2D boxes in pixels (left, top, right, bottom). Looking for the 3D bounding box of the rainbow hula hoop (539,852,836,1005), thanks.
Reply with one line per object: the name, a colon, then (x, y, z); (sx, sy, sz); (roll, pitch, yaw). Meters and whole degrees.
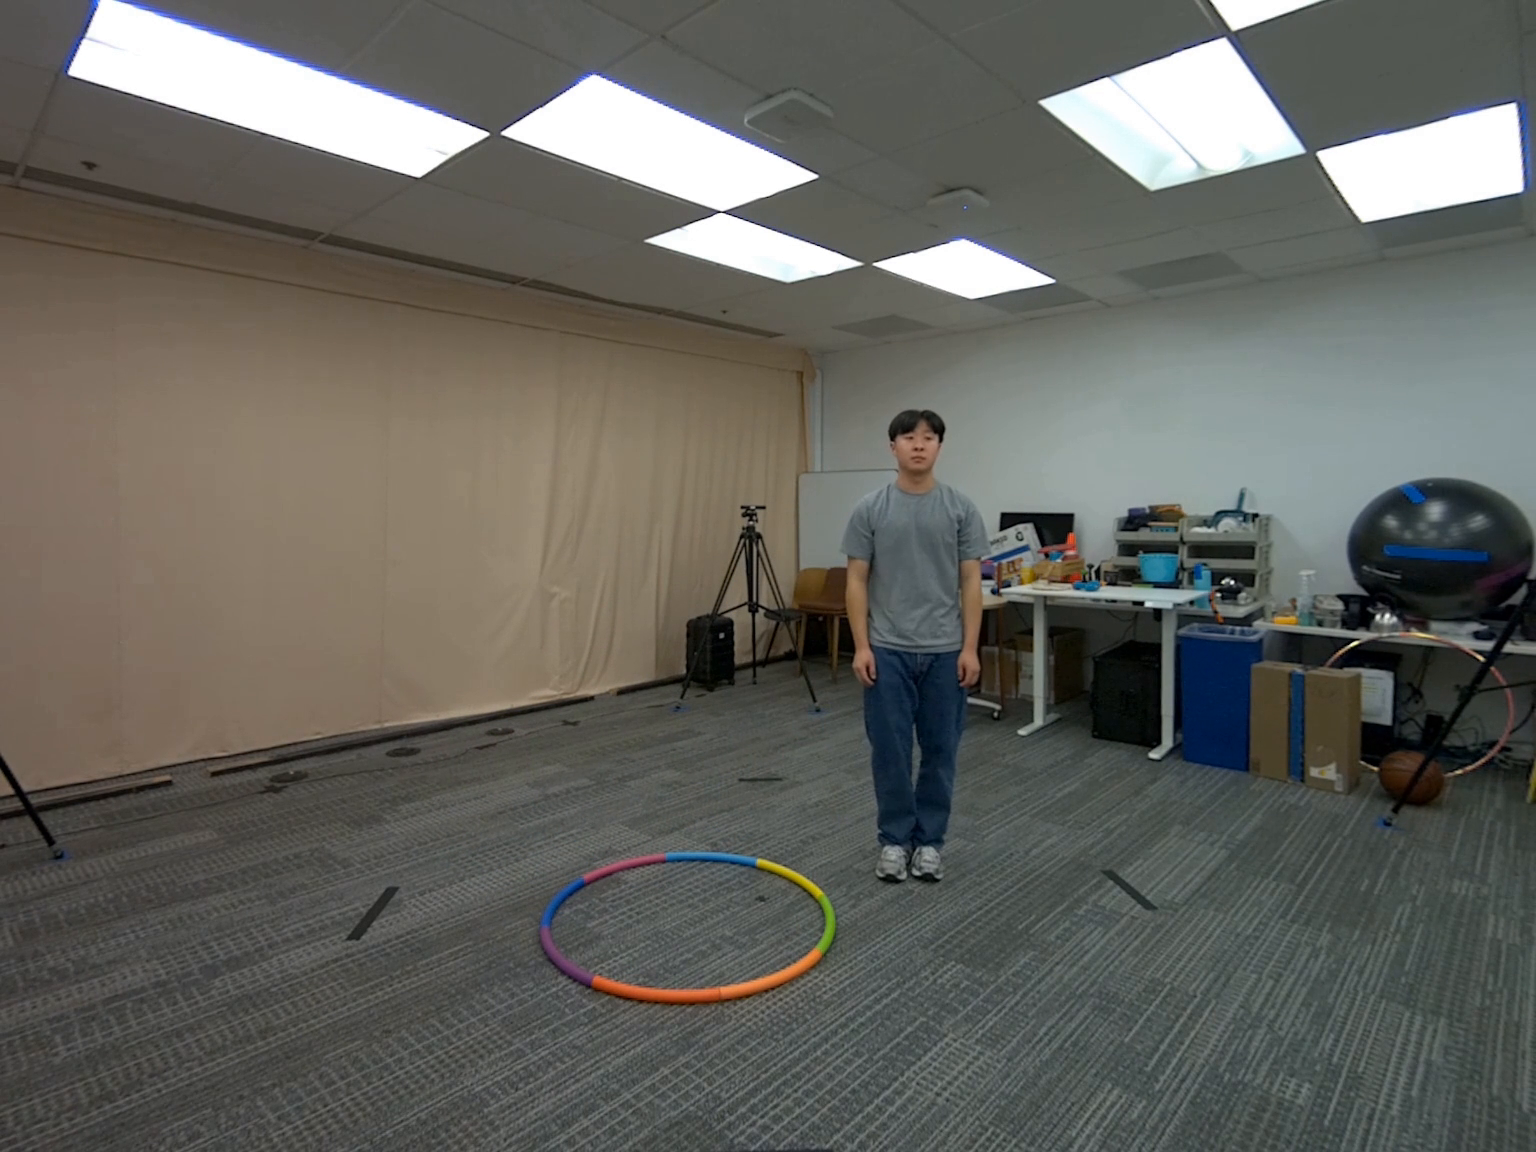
rainbow hula hoop: (-0.268, 1.129, 2.840); (0.978, 0.035, 0.982); (0, 4, -2)
